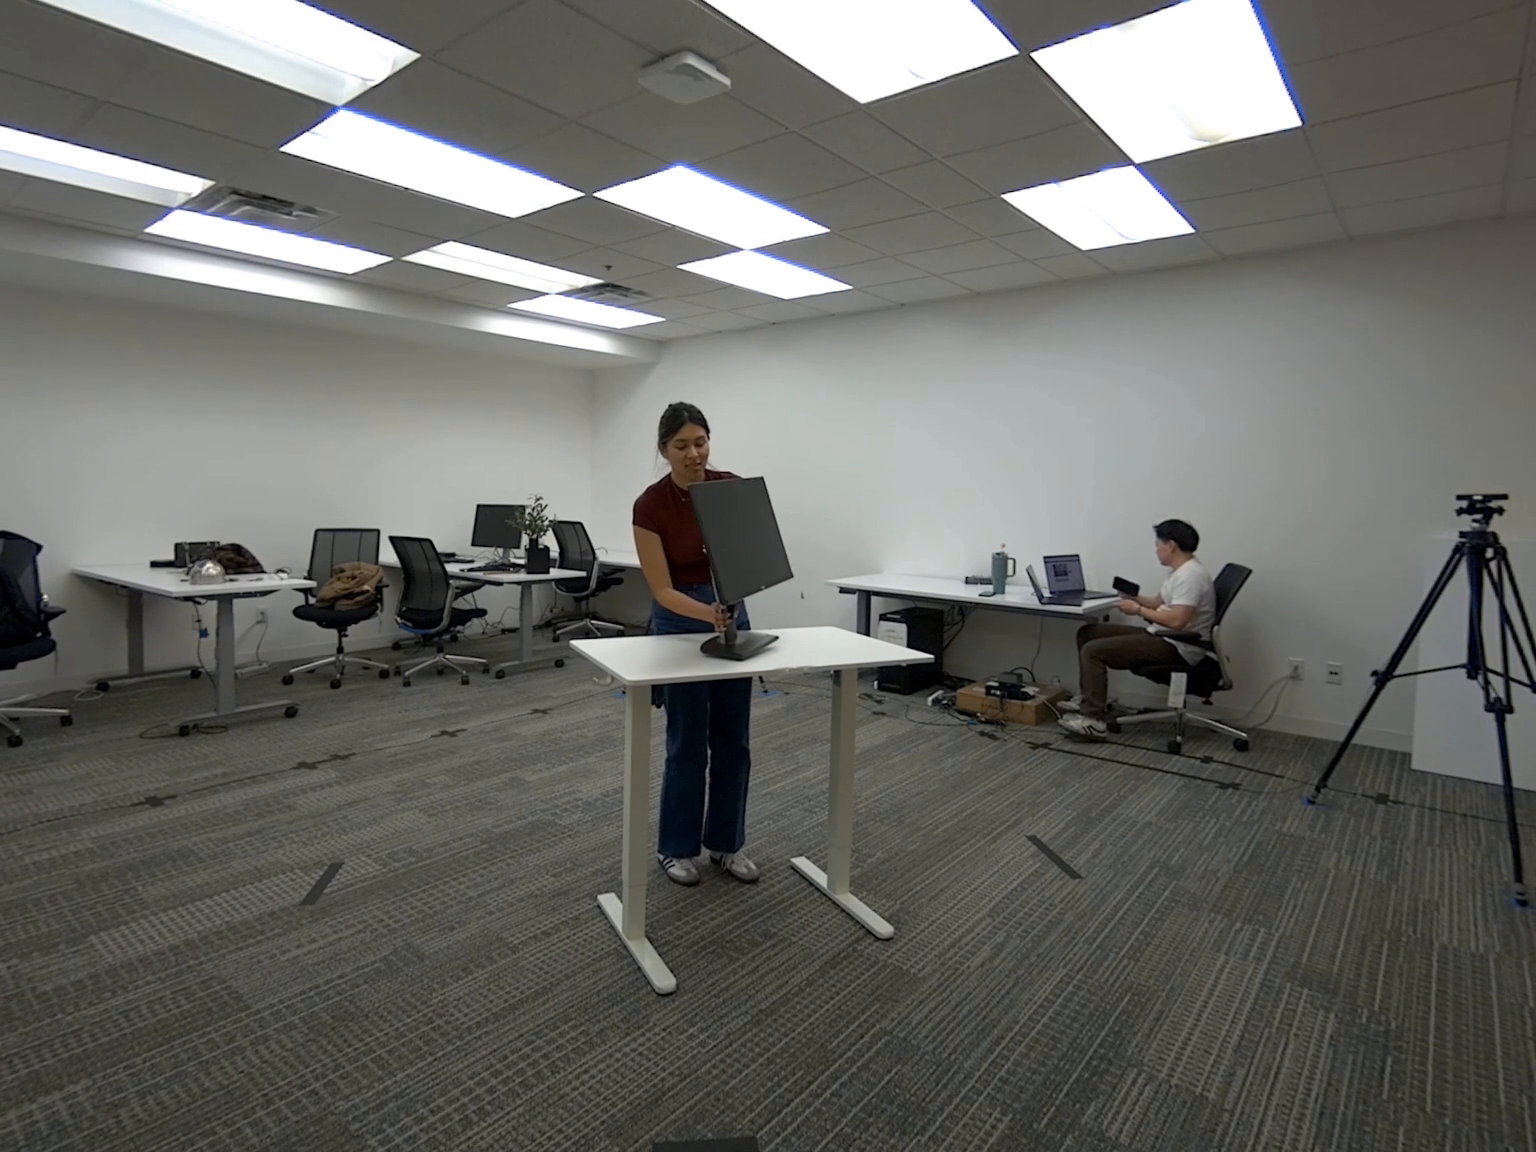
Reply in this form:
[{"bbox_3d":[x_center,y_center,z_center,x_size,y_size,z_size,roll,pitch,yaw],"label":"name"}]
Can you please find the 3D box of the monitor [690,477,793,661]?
[{"bbox_3d":[-0.097,-0.038,2.618,0.191,0.519,0.531,0,7,20],"label":"monitor"}]
